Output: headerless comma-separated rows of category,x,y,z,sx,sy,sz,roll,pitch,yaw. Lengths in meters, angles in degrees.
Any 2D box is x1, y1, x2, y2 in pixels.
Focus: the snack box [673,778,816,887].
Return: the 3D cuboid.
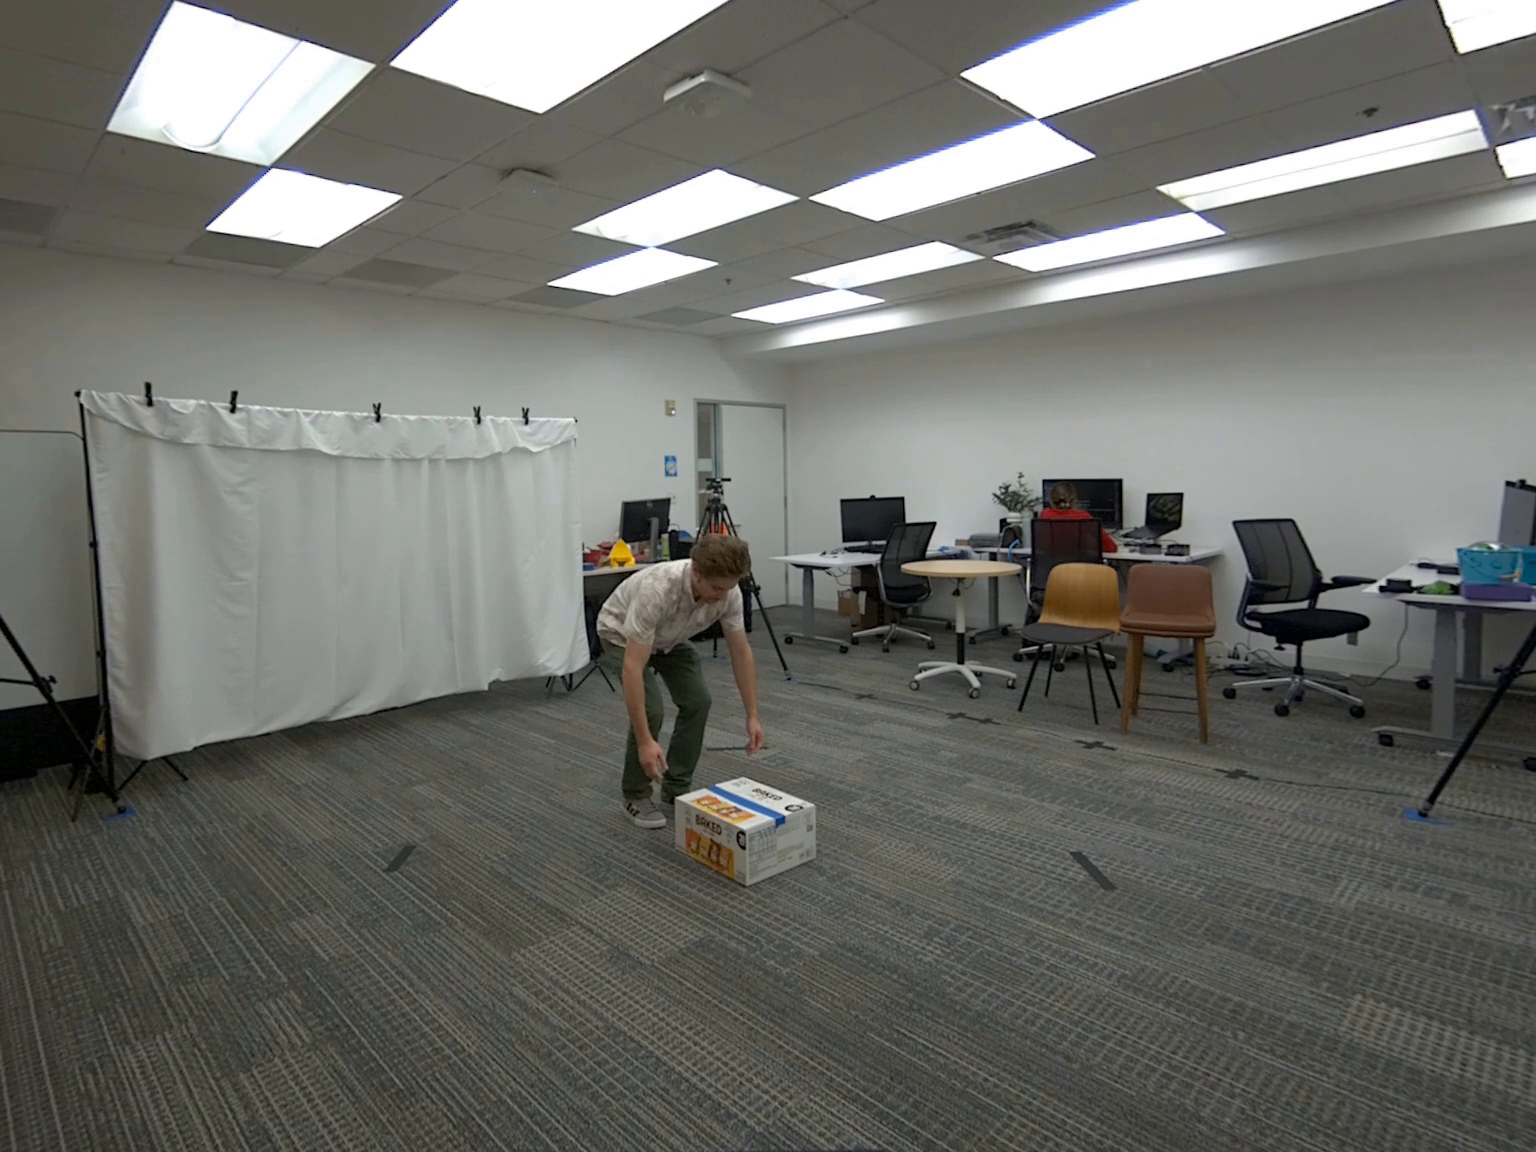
snack box,-0.083,0.936,3.165,0.331,0.205,0.418,-6,8,-41
